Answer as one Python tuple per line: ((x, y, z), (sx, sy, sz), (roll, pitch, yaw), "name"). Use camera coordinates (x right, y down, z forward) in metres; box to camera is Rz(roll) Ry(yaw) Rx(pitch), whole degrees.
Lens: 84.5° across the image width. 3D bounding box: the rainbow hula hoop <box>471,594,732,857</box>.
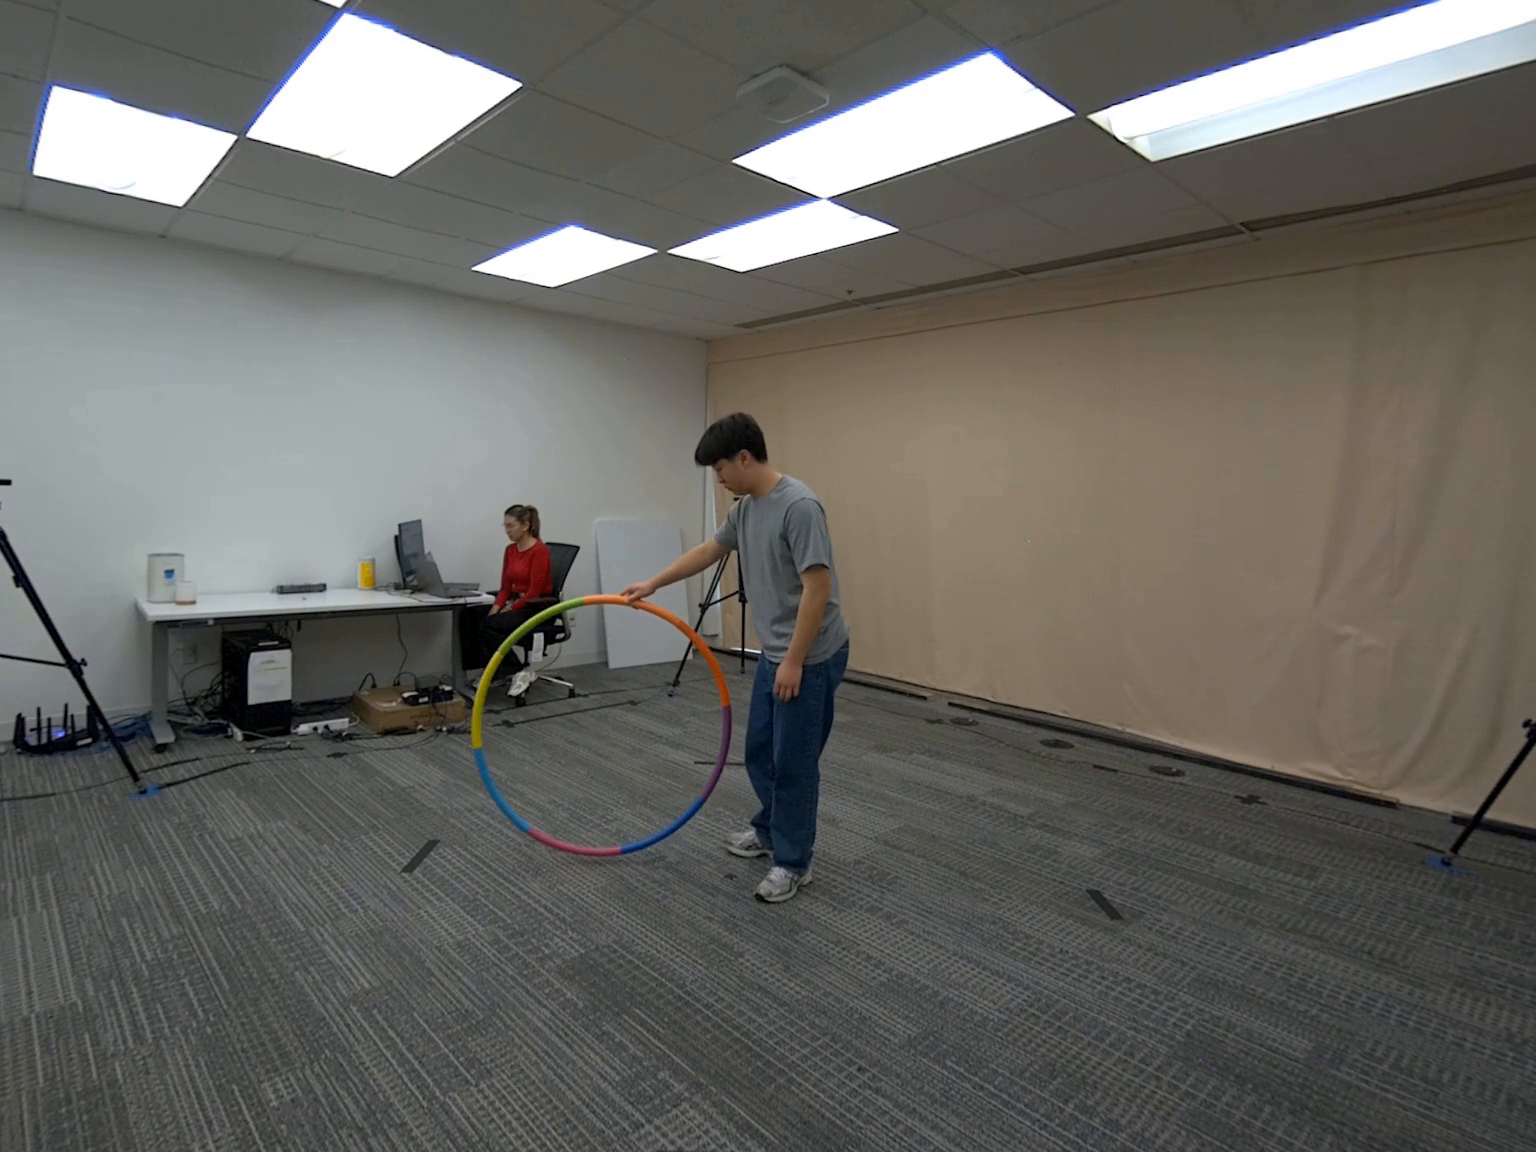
((-0.627, 0.567, 3.192), (0.975, 0.978, 0.036), (1, 1, -4), "rainbow hula hoop")
